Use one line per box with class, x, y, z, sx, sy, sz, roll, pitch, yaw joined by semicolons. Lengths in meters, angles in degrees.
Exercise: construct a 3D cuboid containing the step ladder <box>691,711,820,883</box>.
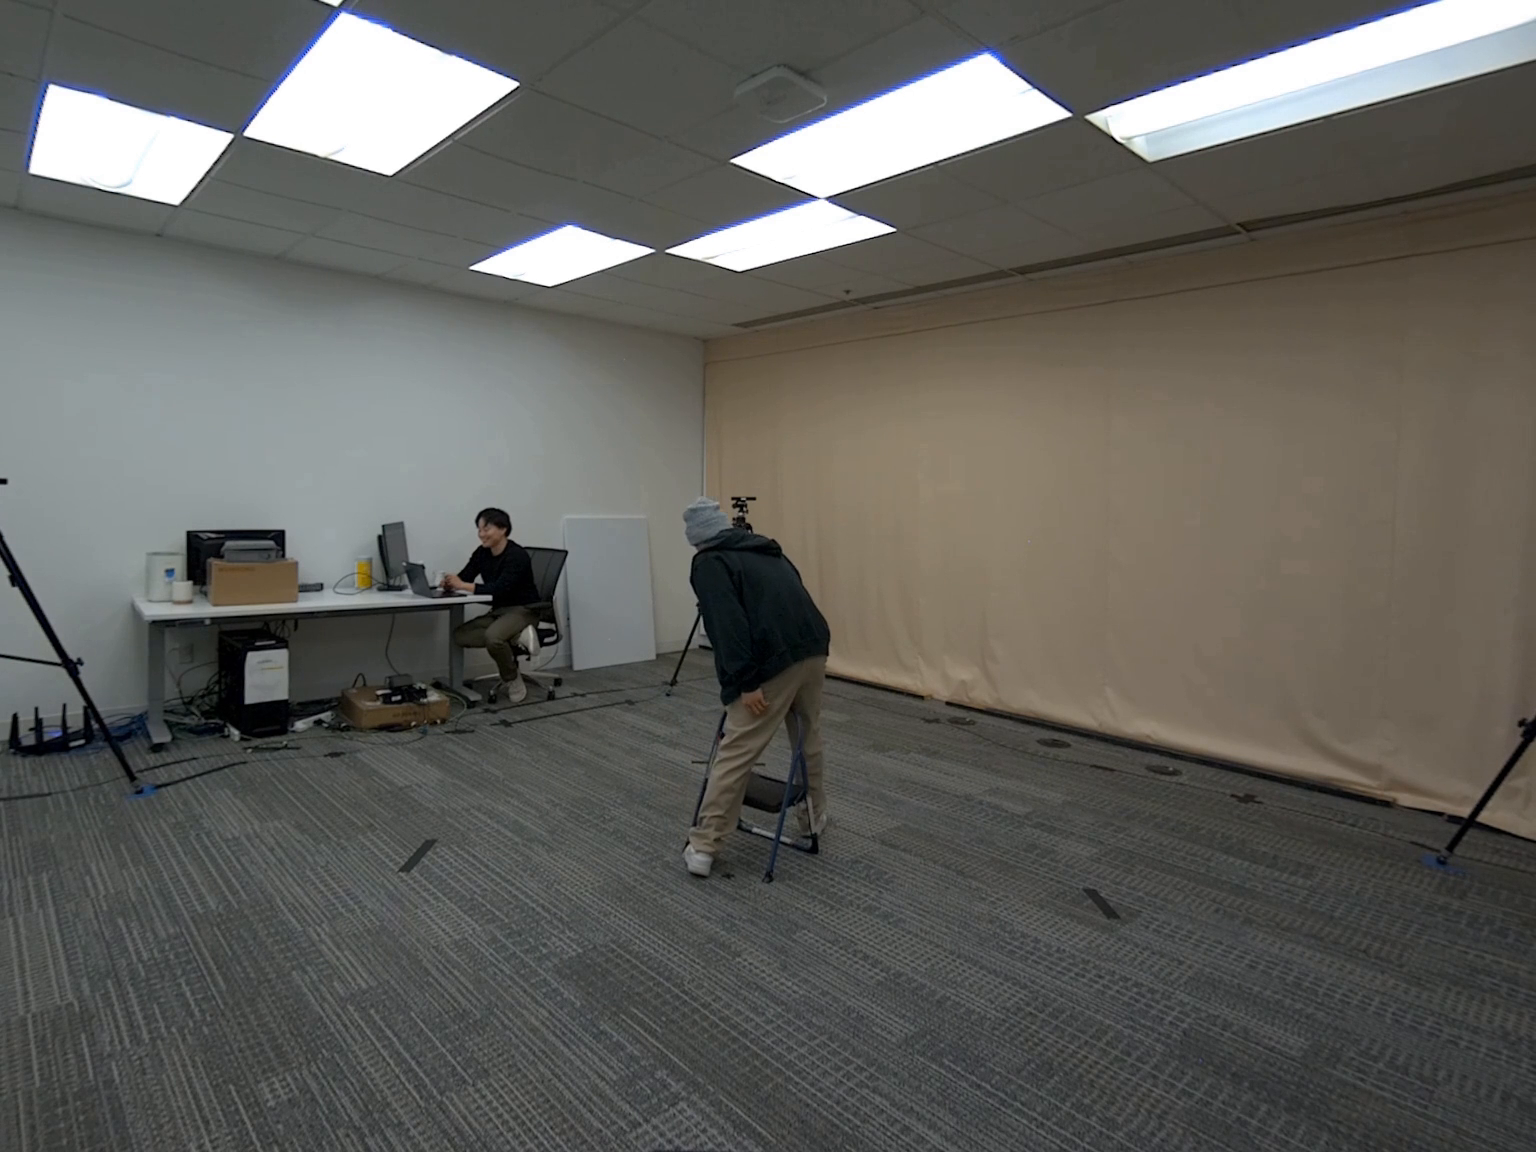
step ladder;-0.060;0.790;3.304;0.441;0.605;0.341;4;4;37
